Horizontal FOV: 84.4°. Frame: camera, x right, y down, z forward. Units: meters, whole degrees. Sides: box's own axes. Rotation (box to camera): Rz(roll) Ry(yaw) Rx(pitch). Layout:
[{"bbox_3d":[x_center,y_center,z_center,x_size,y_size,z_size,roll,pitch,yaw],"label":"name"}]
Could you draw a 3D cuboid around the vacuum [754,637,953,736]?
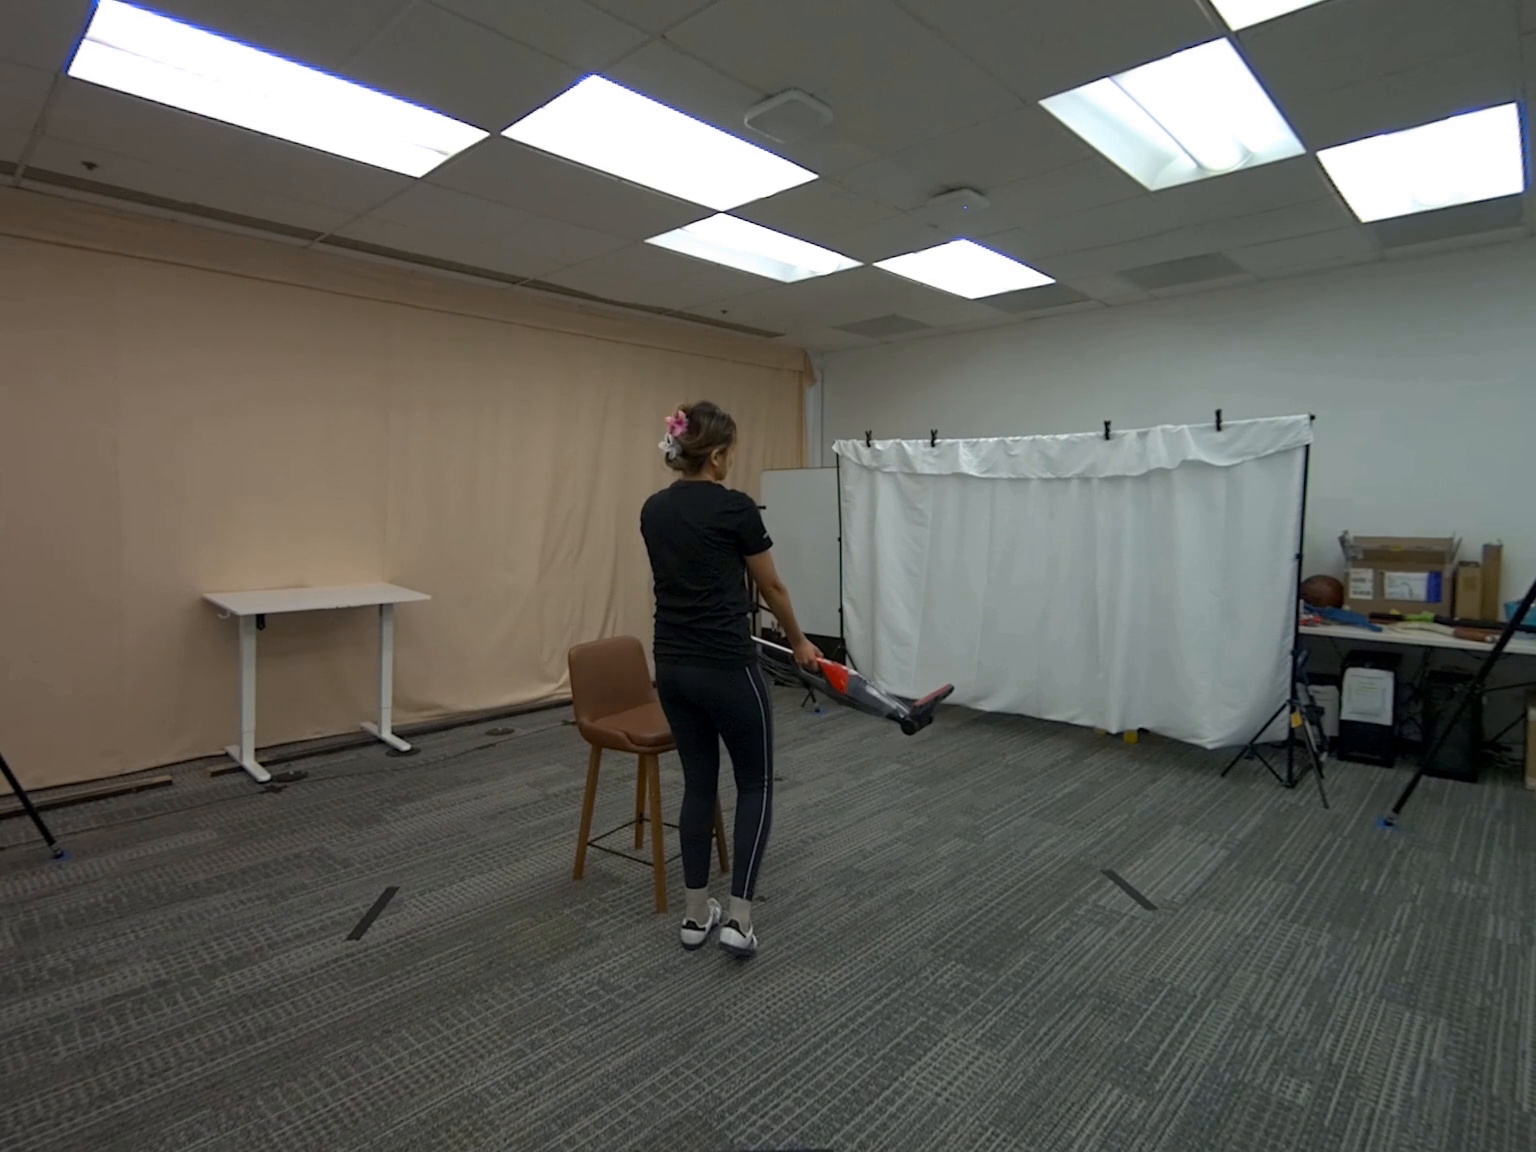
[{"bbox_3d":[0.092,0.323,2.928,1.087,0.143,0.245,16,17,38],"label":"vacuum"}]
